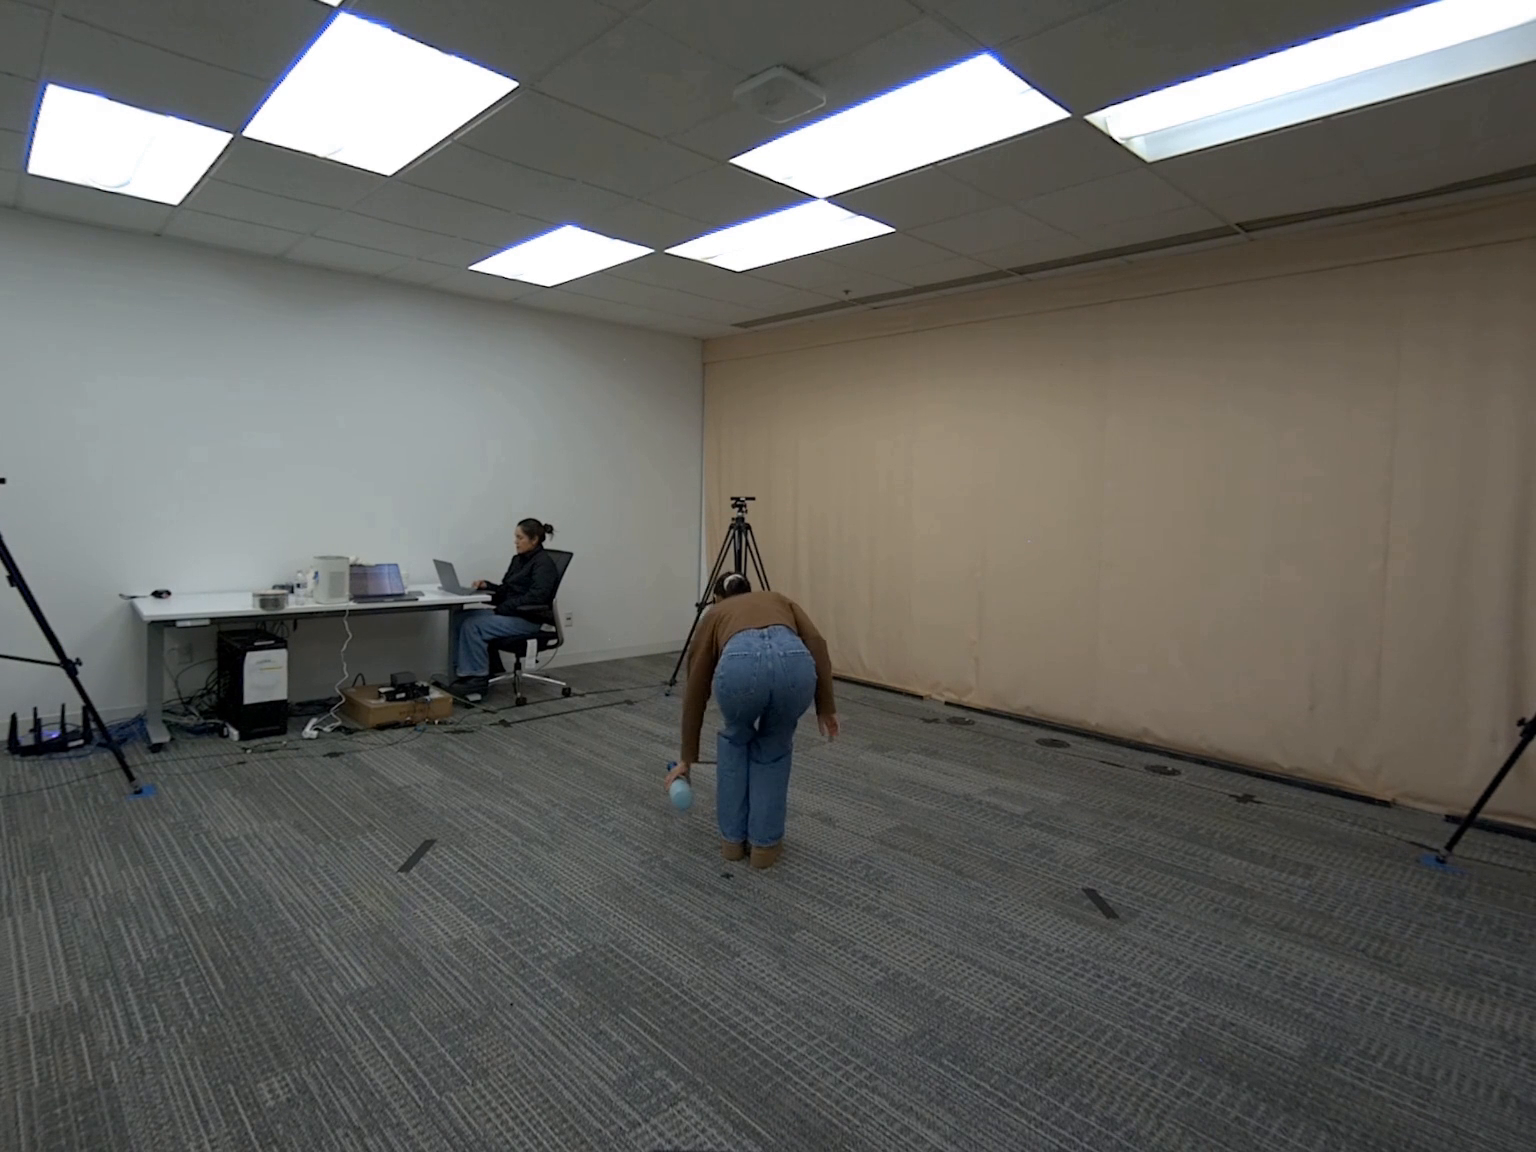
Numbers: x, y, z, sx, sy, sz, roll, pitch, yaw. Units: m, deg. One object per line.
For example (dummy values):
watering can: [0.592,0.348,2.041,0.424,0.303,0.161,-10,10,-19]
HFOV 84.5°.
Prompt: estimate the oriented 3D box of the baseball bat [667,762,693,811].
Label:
baseball bat: [-0.396,0.857,3.541,0.088,0.089,0.547,1,1,-10]
